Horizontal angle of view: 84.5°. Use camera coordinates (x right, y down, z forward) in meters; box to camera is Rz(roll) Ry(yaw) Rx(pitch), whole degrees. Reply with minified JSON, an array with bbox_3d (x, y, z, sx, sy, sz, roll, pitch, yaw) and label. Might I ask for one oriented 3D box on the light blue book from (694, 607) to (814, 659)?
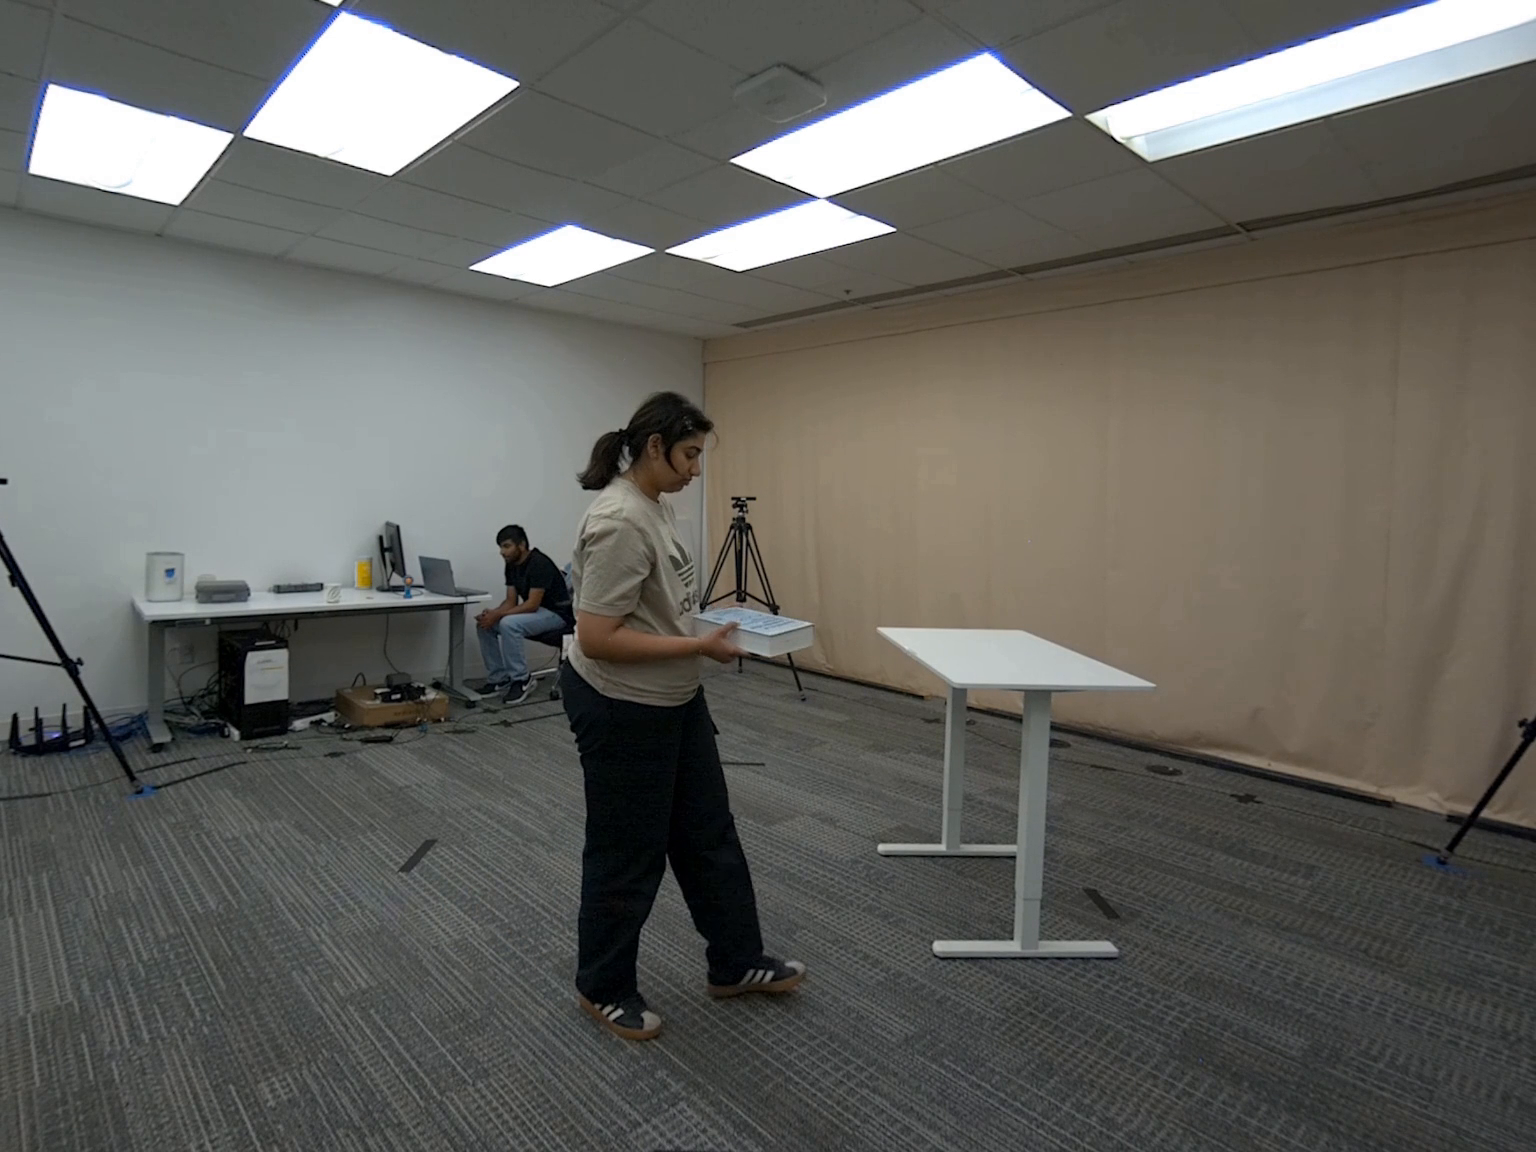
[{"bbox_3d":[-0.053,0.143,2.143,0.268,0.059,0.187,9,11,35],"label":"light blue book"}]
